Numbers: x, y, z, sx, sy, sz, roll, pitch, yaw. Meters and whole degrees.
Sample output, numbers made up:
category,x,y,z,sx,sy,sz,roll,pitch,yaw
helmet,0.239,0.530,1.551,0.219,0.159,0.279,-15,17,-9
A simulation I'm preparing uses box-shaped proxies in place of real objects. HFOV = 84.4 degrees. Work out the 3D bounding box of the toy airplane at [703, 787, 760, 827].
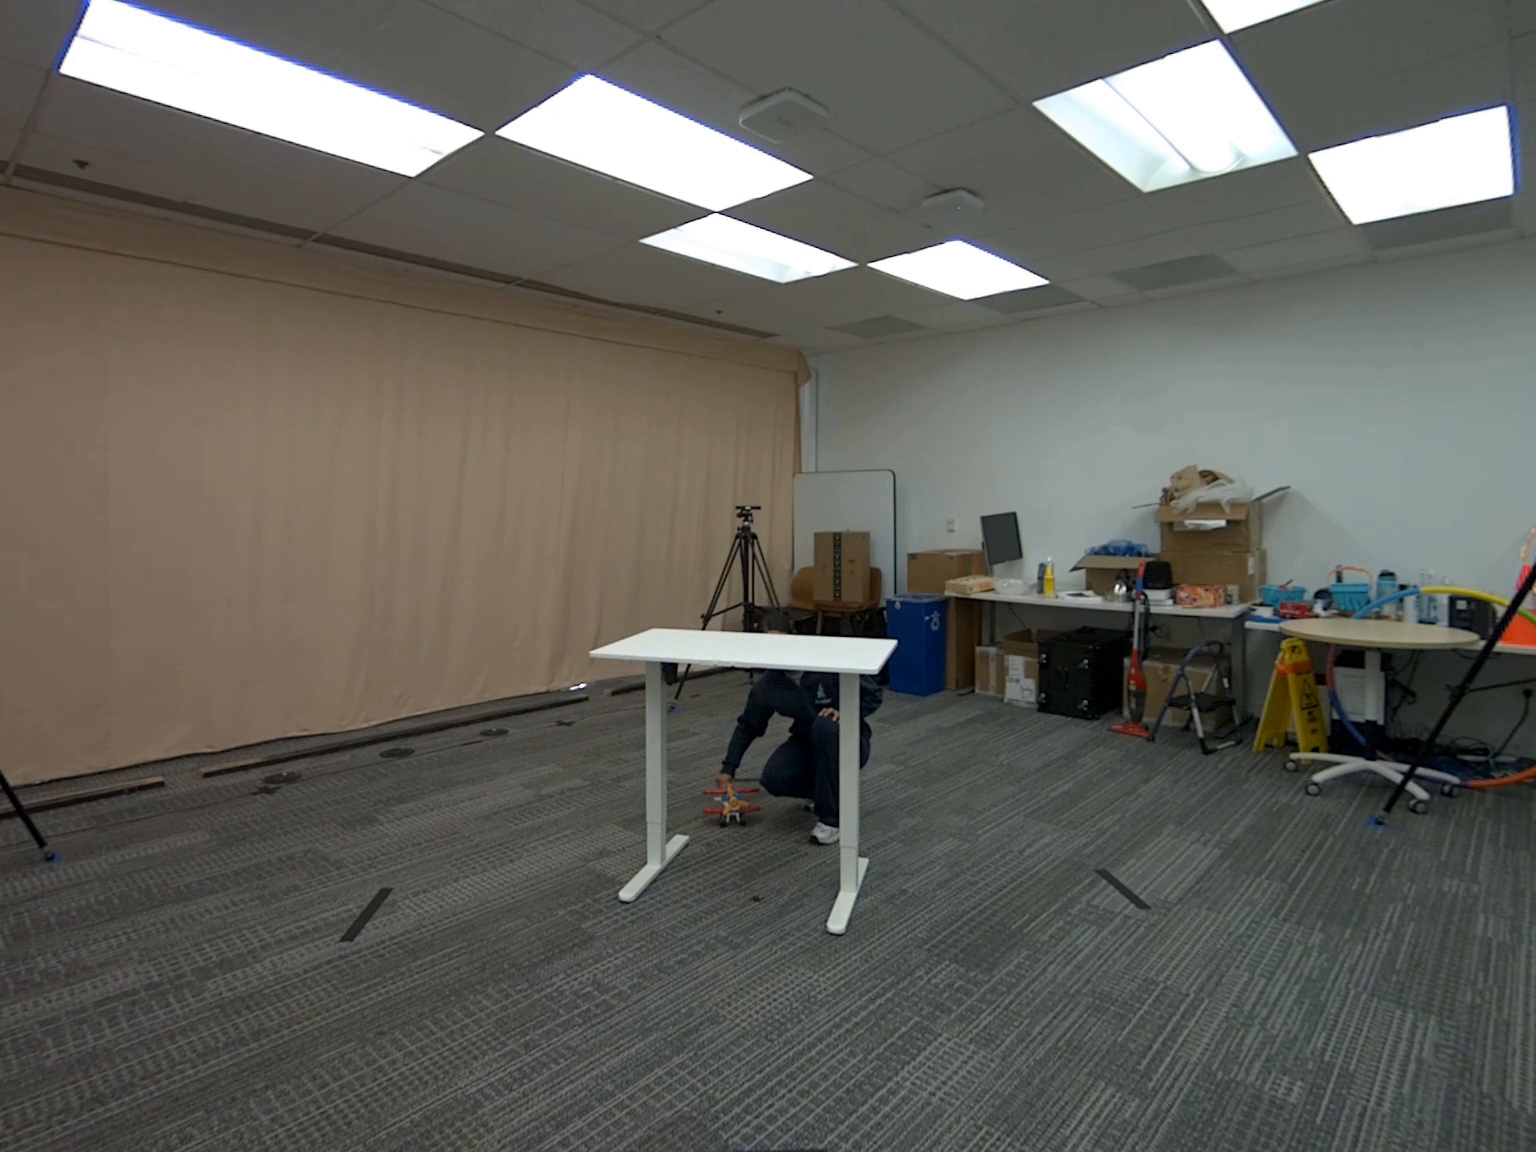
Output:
category,x,y,z,sx,sy,sz,roll,pitch,yaw
toy airplane,-0.172,1.006,3.754,0.244,0.156,0.267,-3,6,-37
